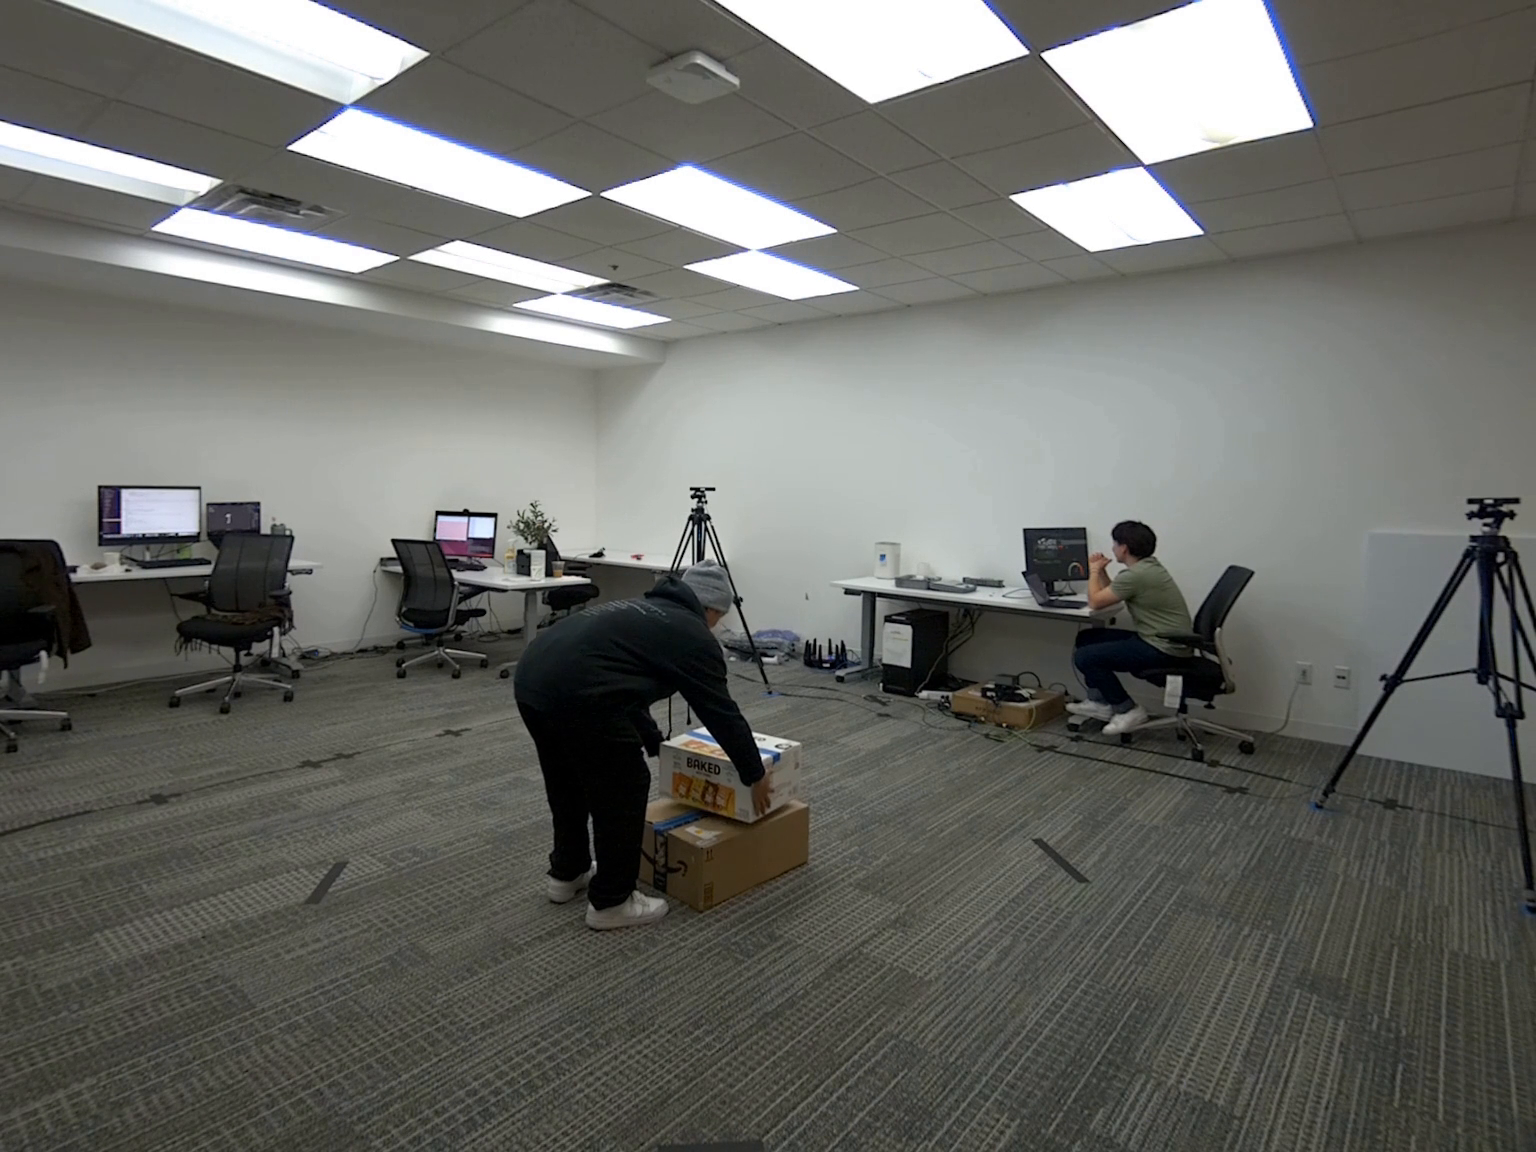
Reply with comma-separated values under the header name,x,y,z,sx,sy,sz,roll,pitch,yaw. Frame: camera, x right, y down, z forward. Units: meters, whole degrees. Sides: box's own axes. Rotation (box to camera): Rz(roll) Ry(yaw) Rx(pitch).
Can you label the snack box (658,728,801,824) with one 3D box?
name,x,y,z,sx,sy,sz,roll,pitch,yaw
snack box,-0.148,0.708,3.139,0.418,0.205,0.331,5,7,34
